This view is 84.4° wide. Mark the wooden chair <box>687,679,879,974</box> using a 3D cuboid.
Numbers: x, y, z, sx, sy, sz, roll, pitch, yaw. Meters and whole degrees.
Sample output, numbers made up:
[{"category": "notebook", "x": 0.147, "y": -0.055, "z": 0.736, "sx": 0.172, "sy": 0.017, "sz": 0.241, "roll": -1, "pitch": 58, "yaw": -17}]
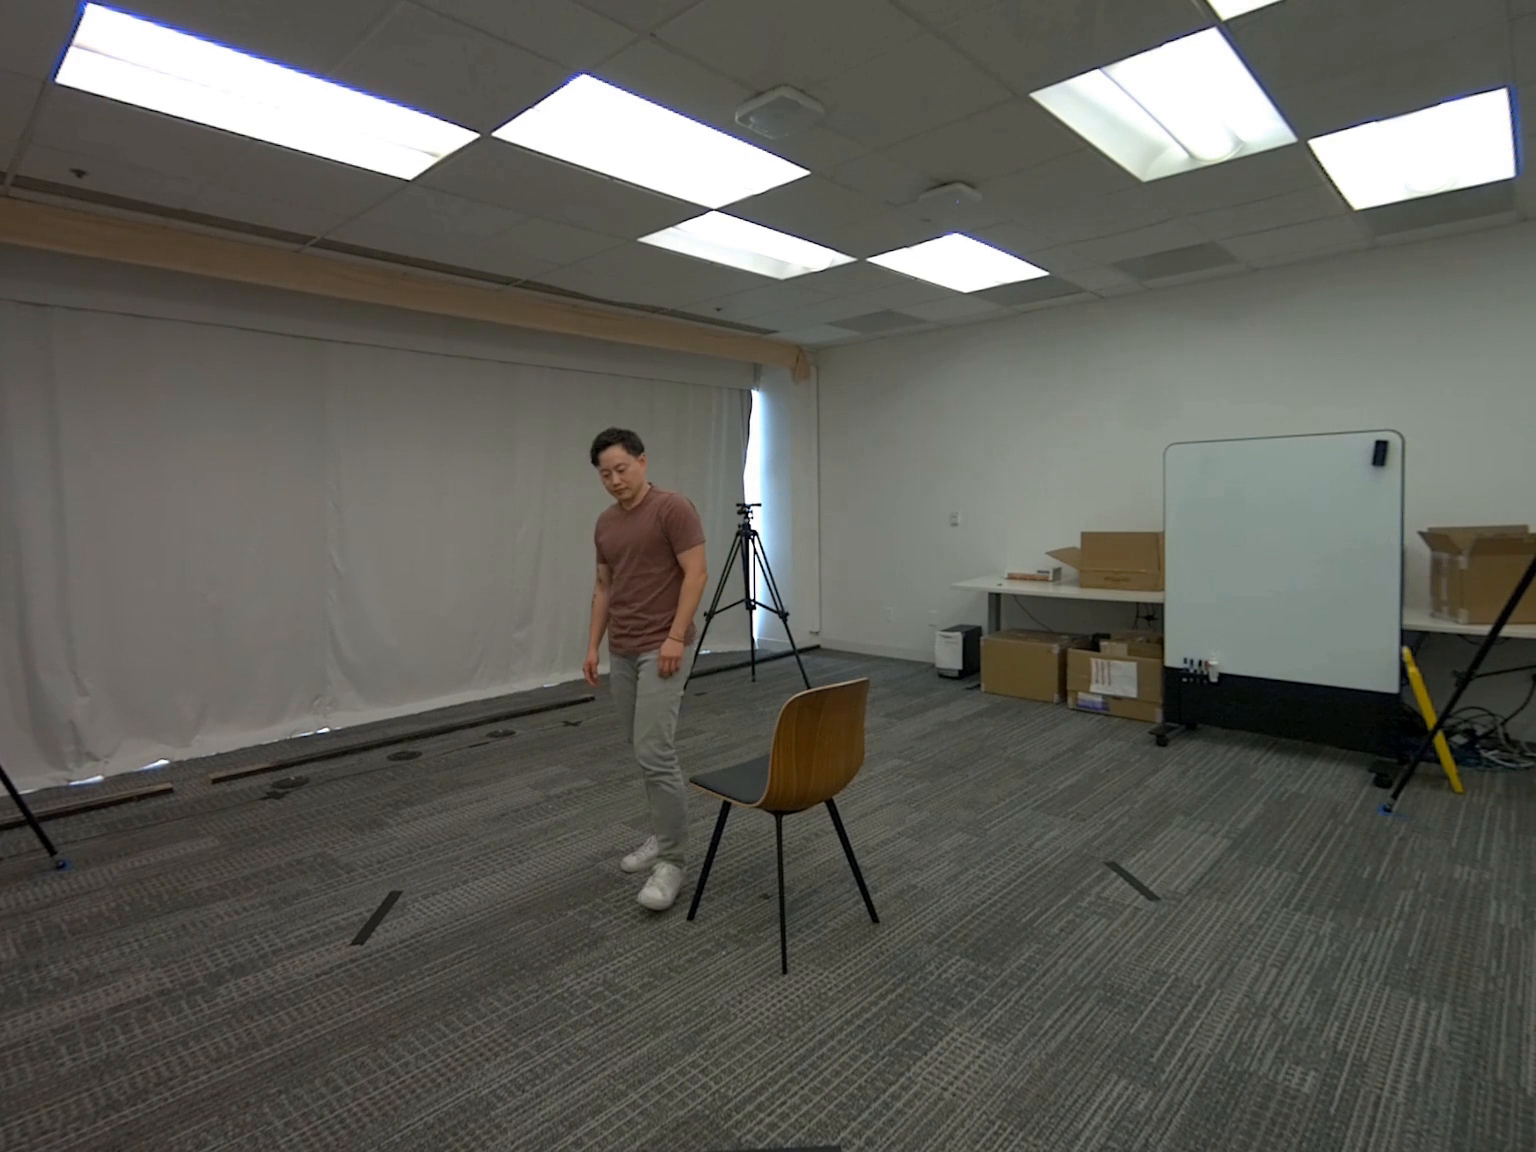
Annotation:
[{"category": "wooden chair", "x": 0.039, "y": 0.725, "z": 2.776, "sx": 0.464, "sy": 0.873, "sz": 0.541, "roll": -5, "pitch": 10, "yaw": -43}]
